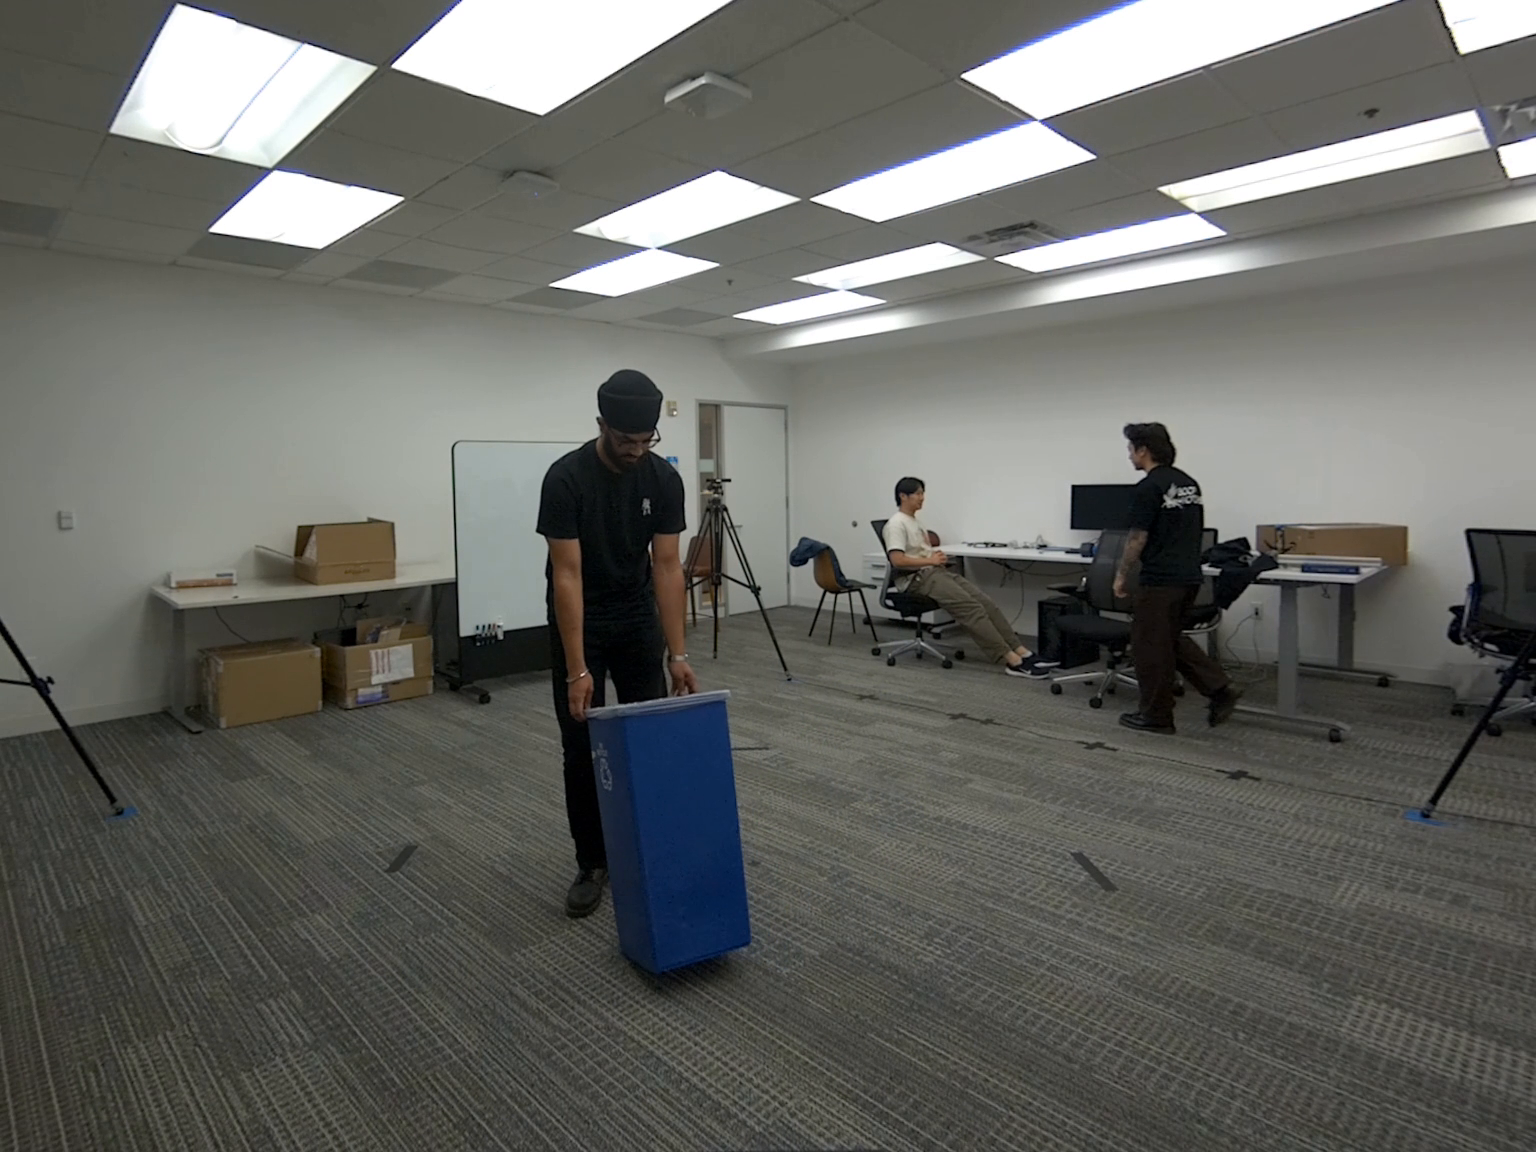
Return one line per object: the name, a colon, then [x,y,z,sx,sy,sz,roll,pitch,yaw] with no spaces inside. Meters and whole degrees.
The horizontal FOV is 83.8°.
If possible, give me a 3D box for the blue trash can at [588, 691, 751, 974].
blue trash can: [-0.299,0.732,2.545,0.369,0.721,0.379,-3,-11,-29]
